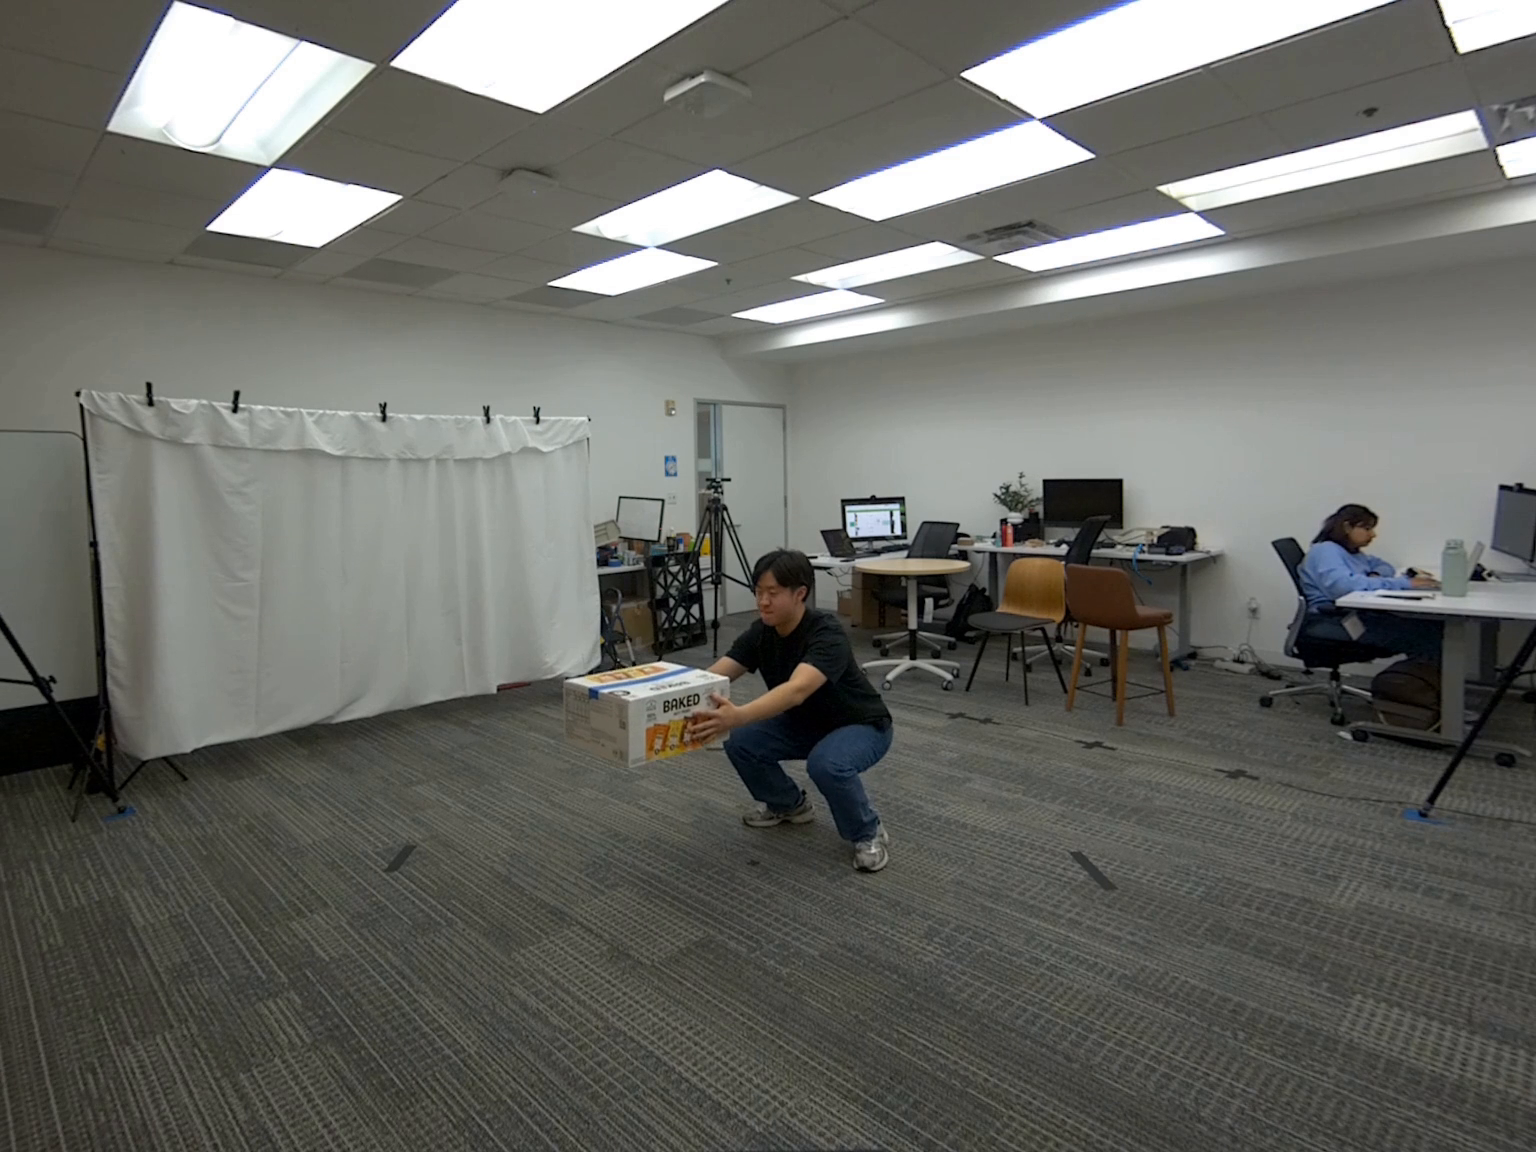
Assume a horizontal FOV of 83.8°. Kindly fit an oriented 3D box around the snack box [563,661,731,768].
[{"bbox_3d":[-0.377,0.420,2.691,0.351,0.205,0.394,4,7,45],"label":"snack box"}]
